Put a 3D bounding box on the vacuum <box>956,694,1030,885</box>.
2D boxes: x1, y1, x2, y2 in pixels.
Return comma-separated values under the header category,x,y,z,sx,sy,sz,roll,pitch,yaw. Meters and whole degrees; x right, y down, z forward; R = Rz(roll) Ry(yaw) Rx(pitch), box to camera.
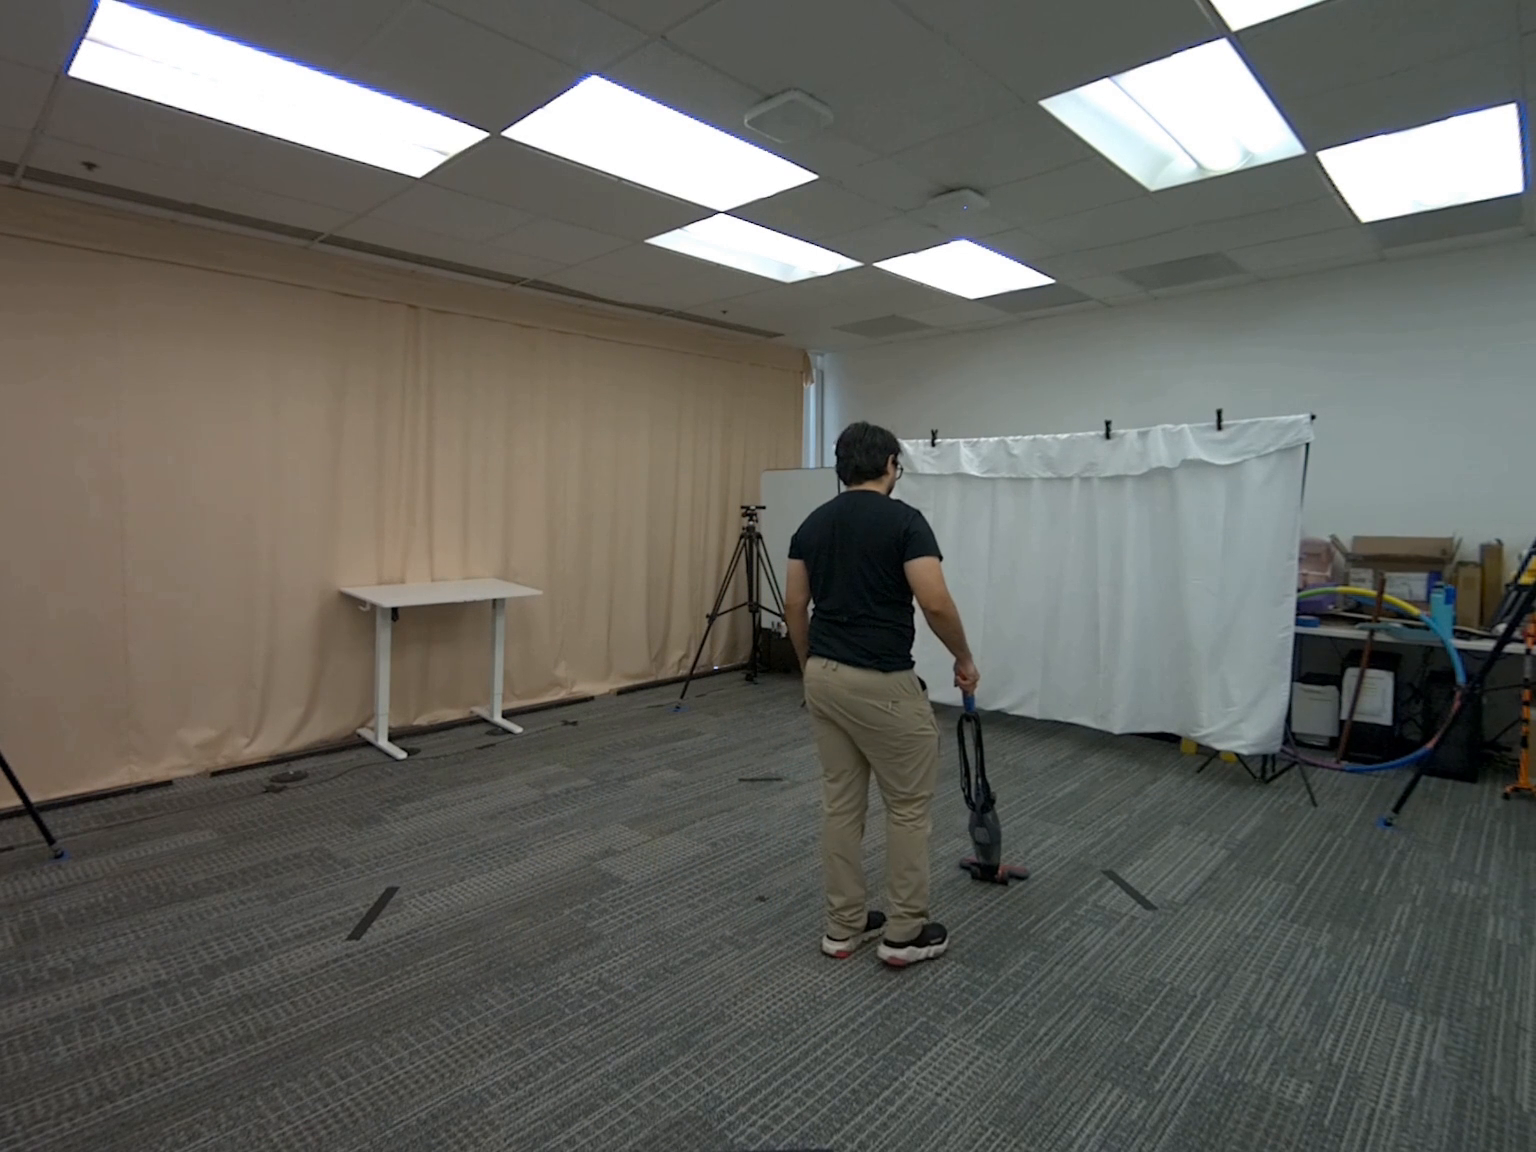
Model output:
category,x,y,z,sx,sy,sz,roll,pitch,yaw
vacuum,0.724,0.720,2.883,0.260,1.023,0.143,5,39,28
